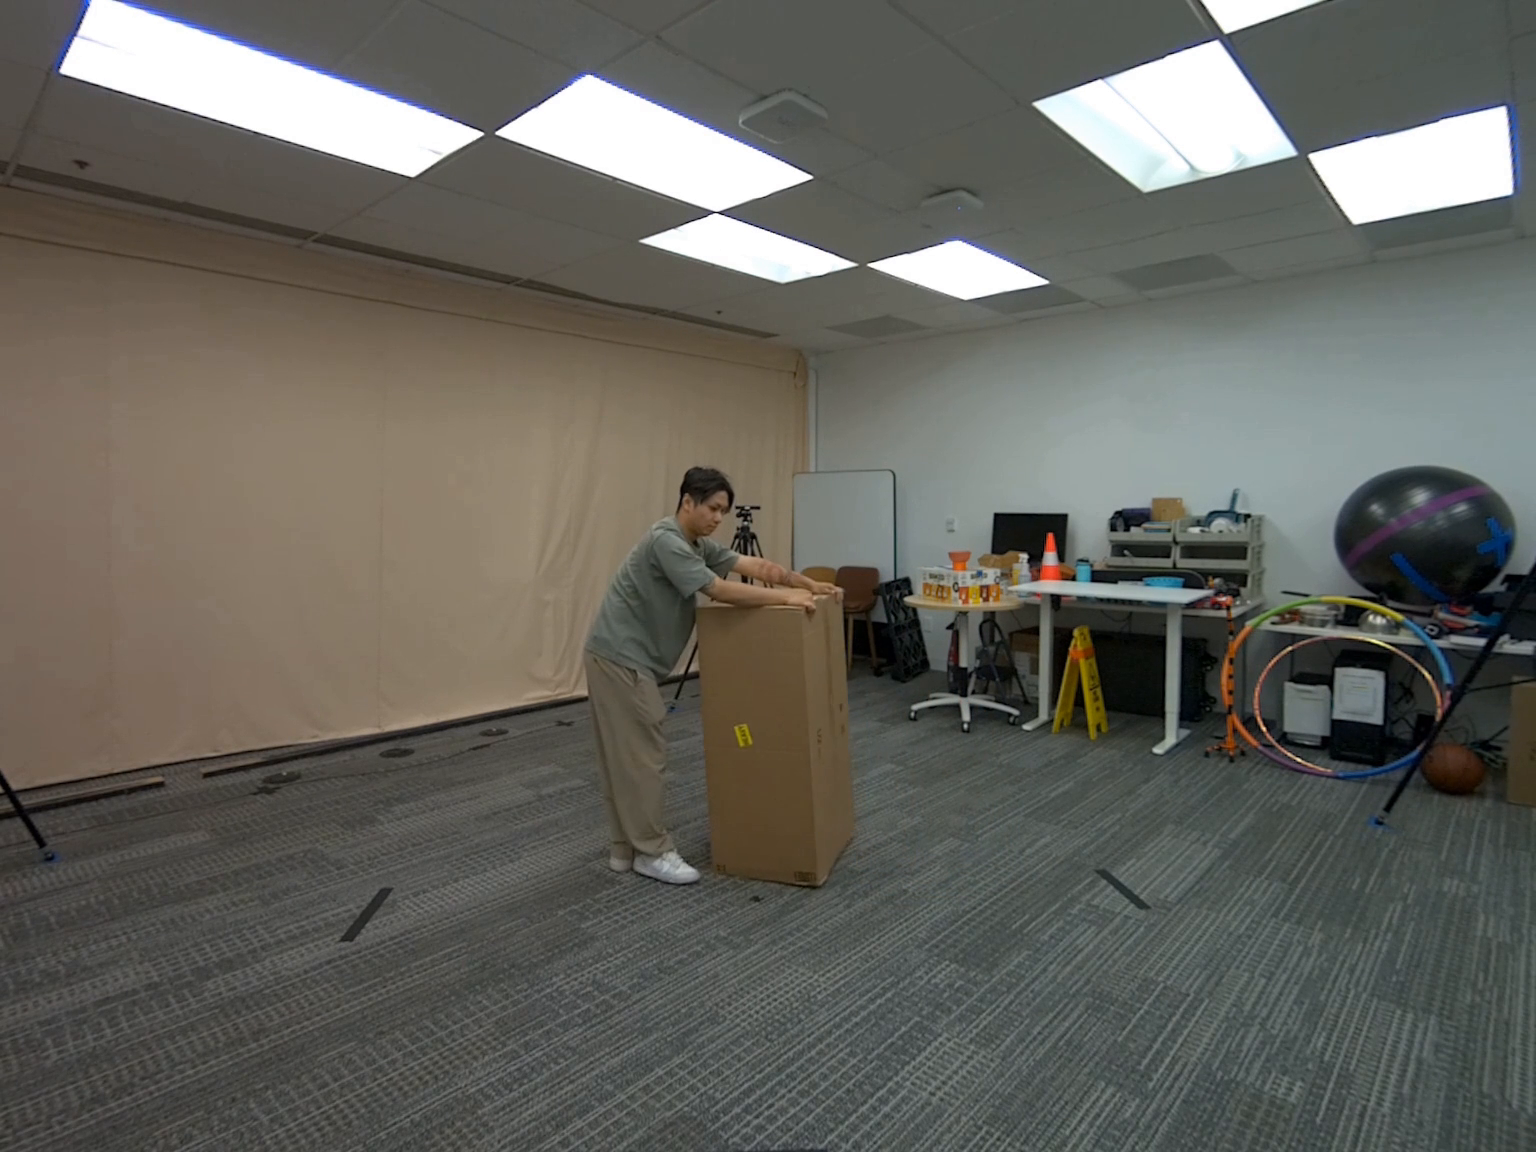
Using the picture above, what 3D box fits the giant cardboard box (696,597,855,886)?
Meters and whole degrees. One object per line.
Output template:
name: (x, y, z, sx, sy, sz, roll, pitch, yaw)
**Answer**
giant cardboard box: (0.053, 0.592, 3.359, 0.435, 1.024, 0.566, -2, 3, 21)
